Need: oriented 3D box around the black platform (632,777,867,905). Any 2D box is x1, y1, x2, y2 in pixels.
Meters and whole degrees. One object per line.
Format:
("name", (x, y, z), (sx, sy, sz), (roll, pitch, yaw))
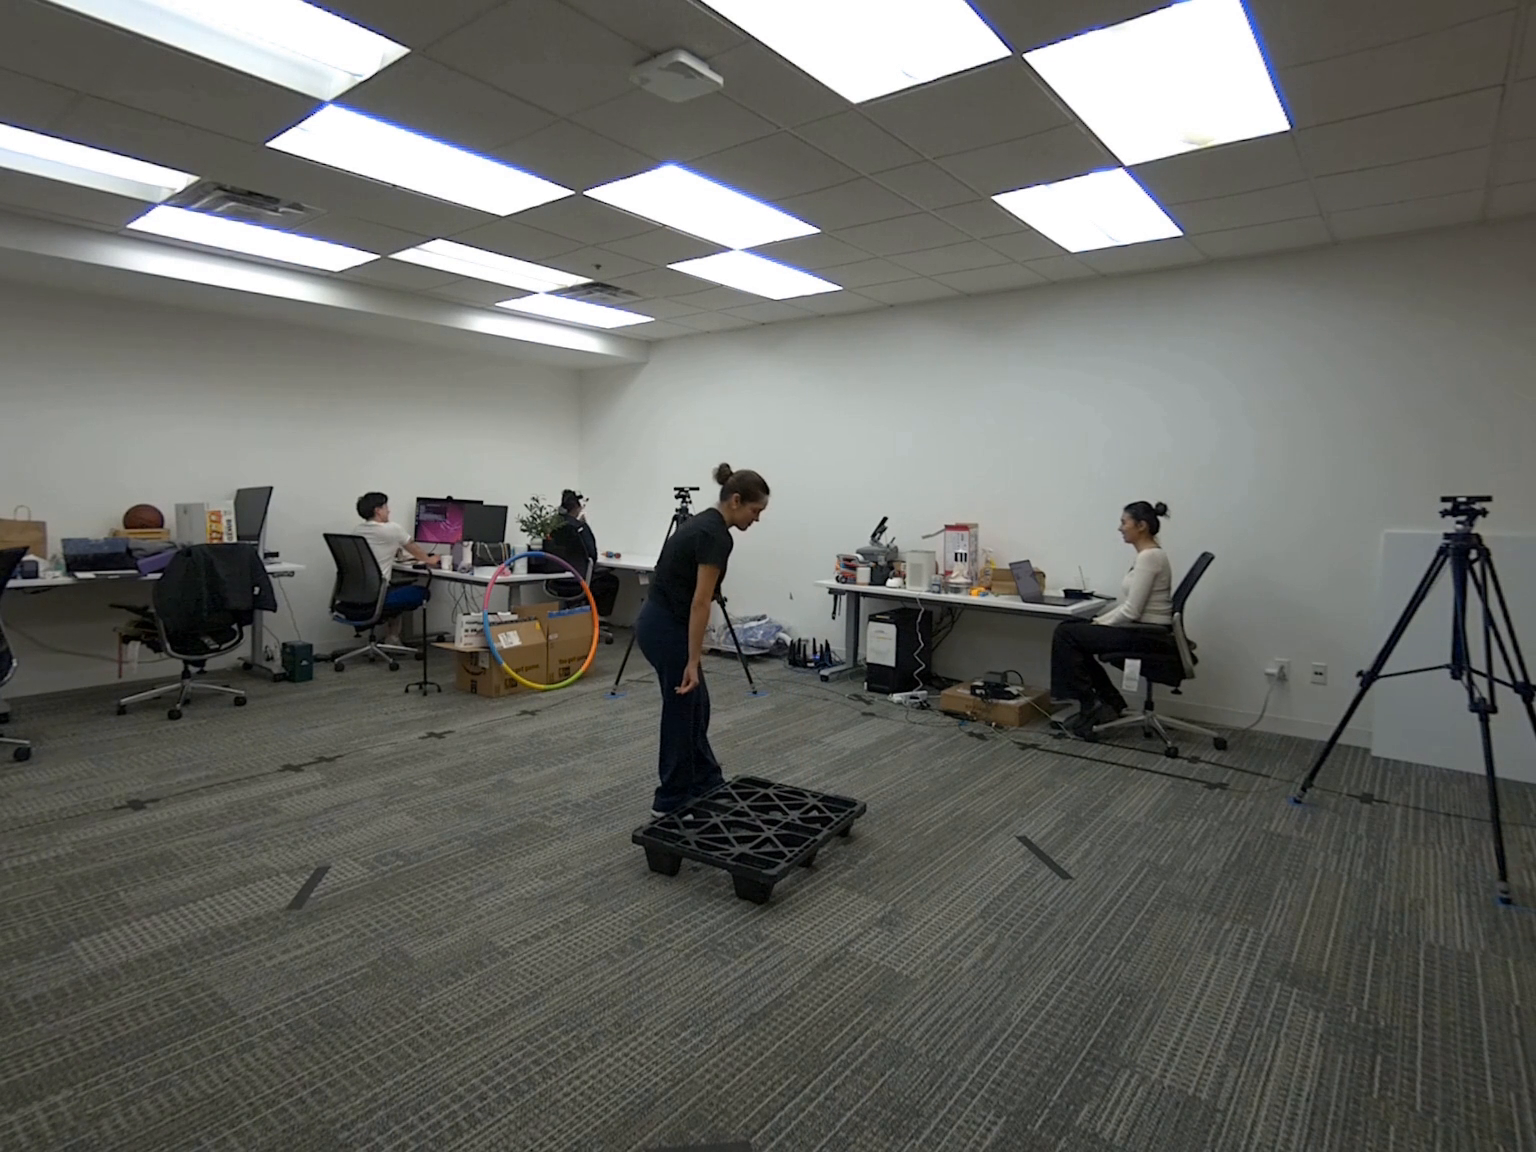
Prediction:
("black platform", (-0.035, 0.987, 3.272), (0.623, 0.143, 0.784), (4, 6, 31))
